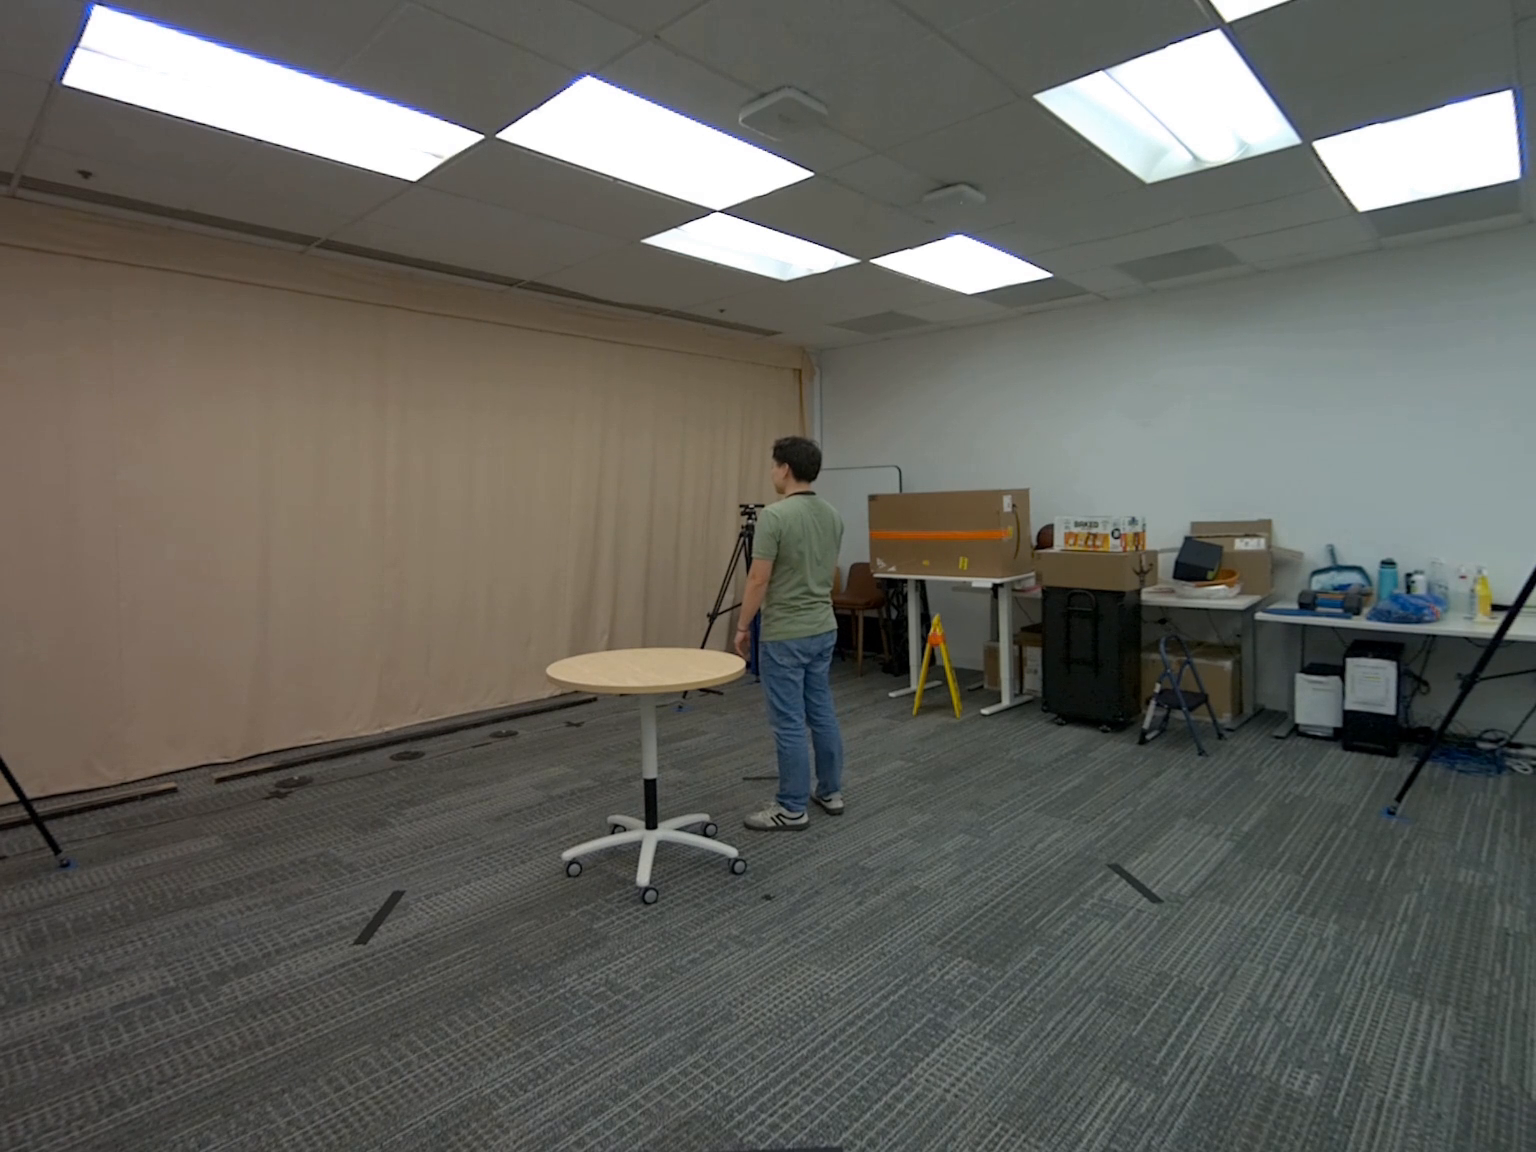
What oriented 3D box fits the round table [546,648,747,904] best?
[{"bbox_3d":[-0.458,0.738,3.272,0.763,0.792,0.766,-2,4,-2],"label":"round table"}]
